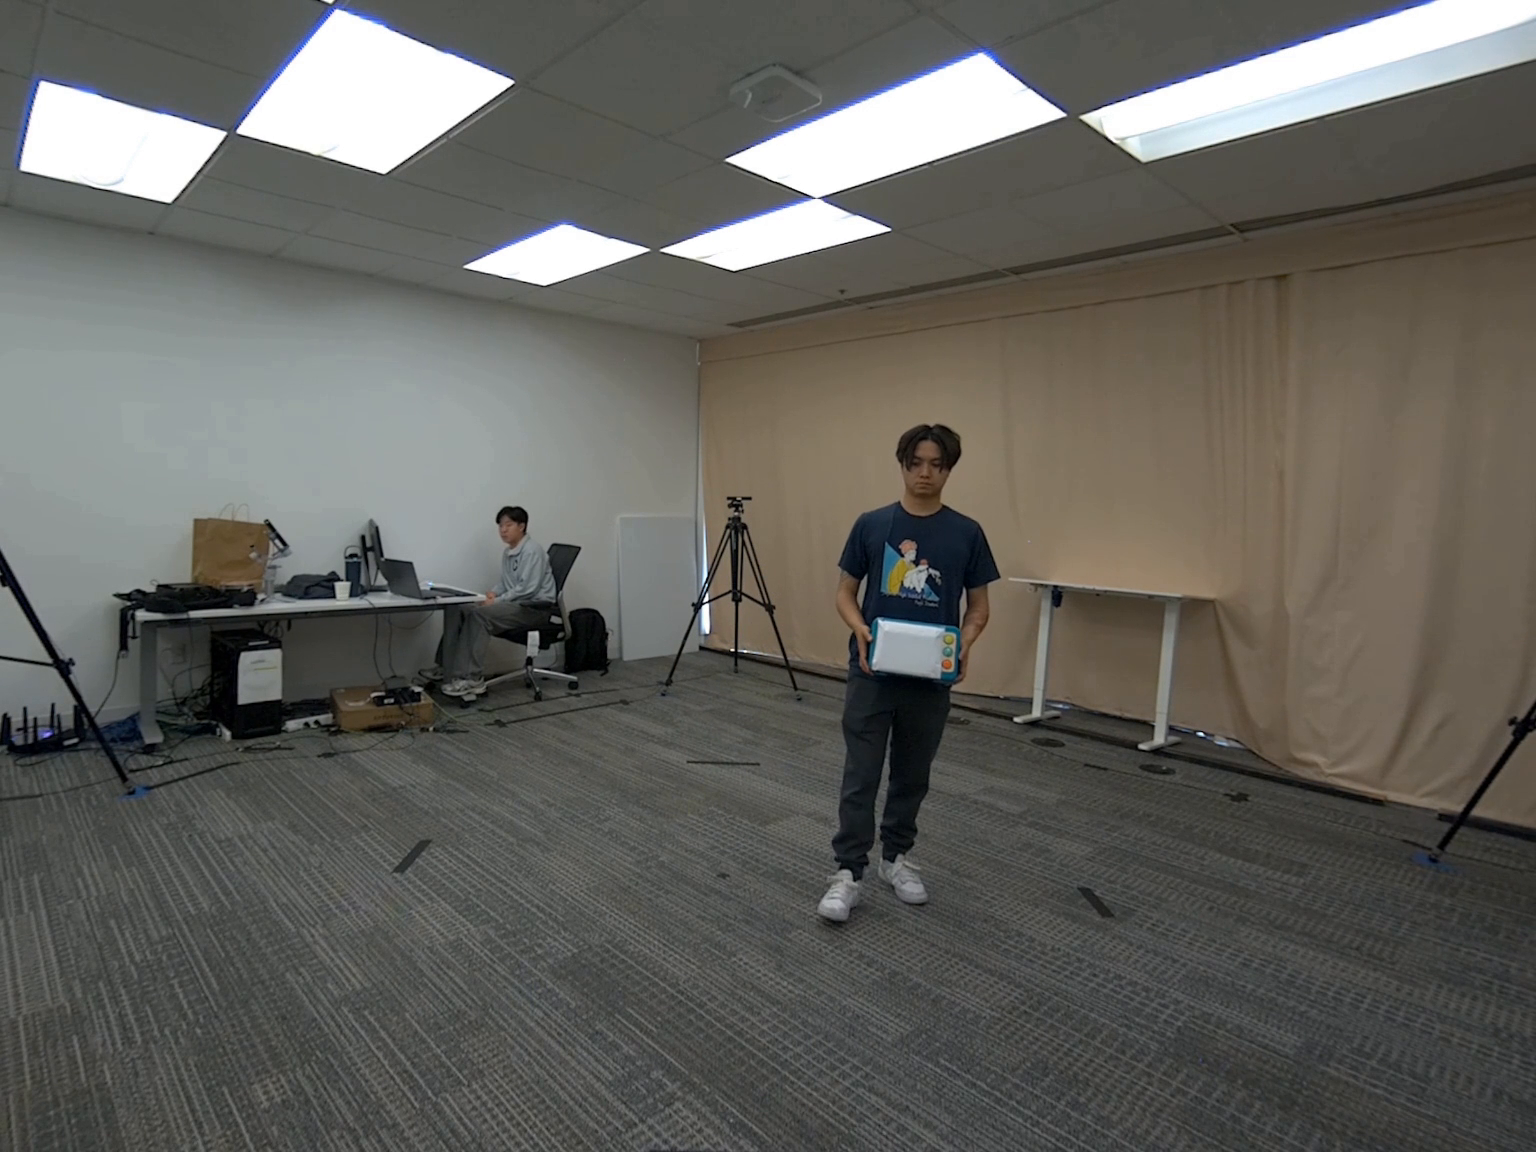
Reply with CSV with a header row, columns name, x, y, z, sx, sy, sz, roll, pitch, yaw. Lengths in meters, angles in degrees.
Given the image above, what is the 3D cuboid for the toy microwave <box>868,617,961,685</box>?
name,x,y,z,sx,sy,sz,roll,pitch,yaw
toy microwave,0.449,0.243,2.748,0.288,0.185,0.151,6,-8,6
